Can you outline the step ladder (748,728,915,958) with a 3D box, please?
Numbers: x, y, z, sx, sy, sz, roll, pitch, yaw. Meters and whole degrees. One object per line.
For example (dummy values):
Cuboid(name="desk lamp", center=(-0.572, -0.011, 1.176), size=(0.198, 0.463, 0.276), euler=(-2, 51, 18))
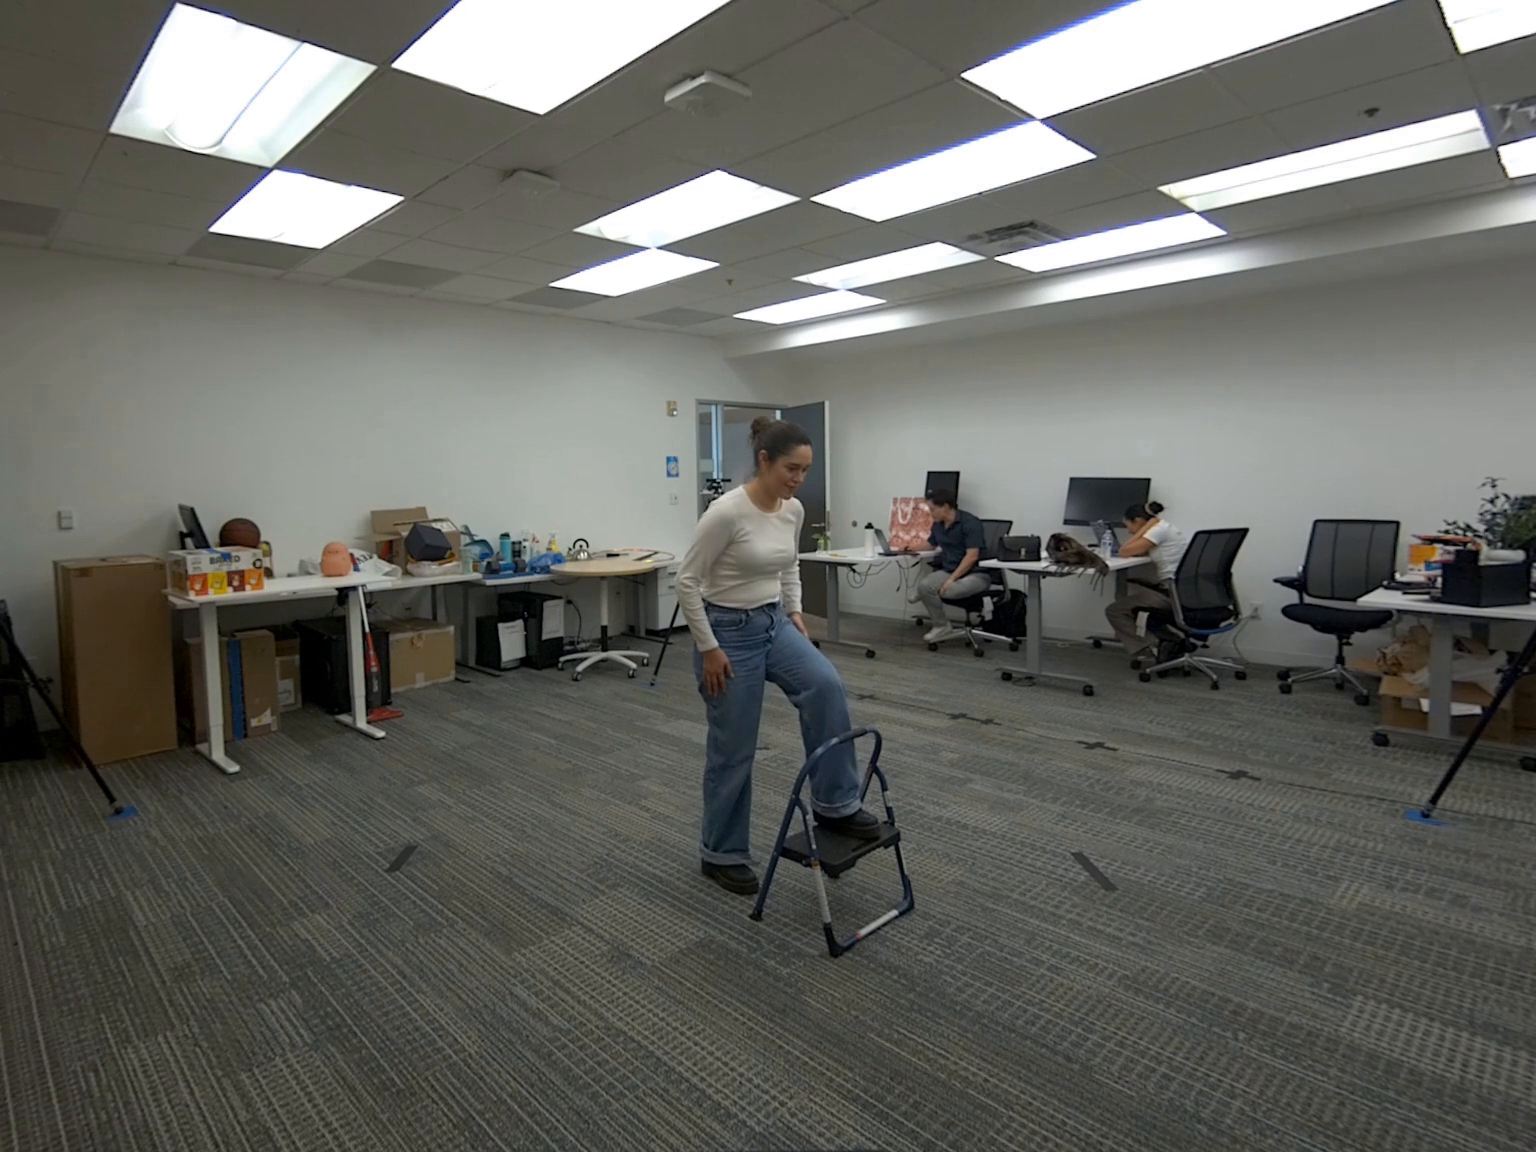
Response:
Cuboid(name="step ladder", center=(0.208, 0.781, 2.724), size=(0.360, 0.604, 0.419), euler=(3, 6, 44))
